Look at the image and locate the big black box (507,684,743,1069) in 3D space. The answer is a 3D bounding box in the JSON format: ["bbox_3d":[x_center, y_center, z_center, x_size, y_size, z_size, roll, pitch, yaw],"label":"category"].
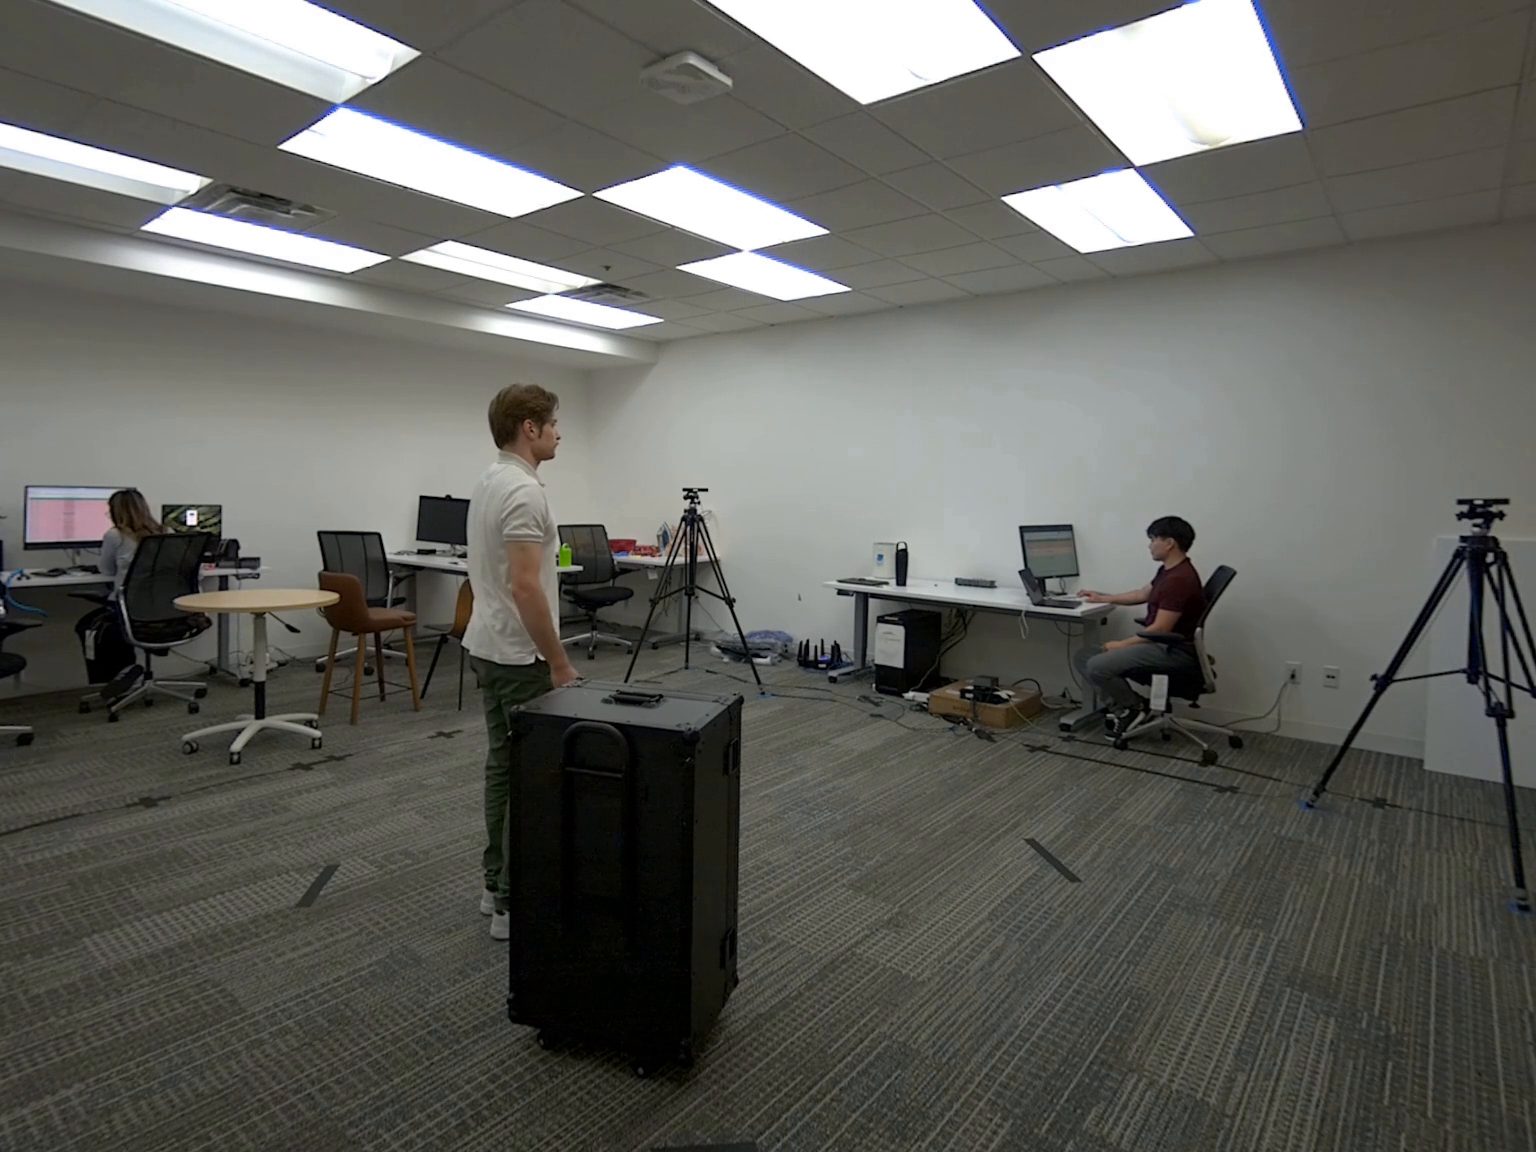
[{"bbox_3d":[-0.356,0.738,2.150,0.534,0.866,0.379,2,4,17],"label":"big black box"}]
